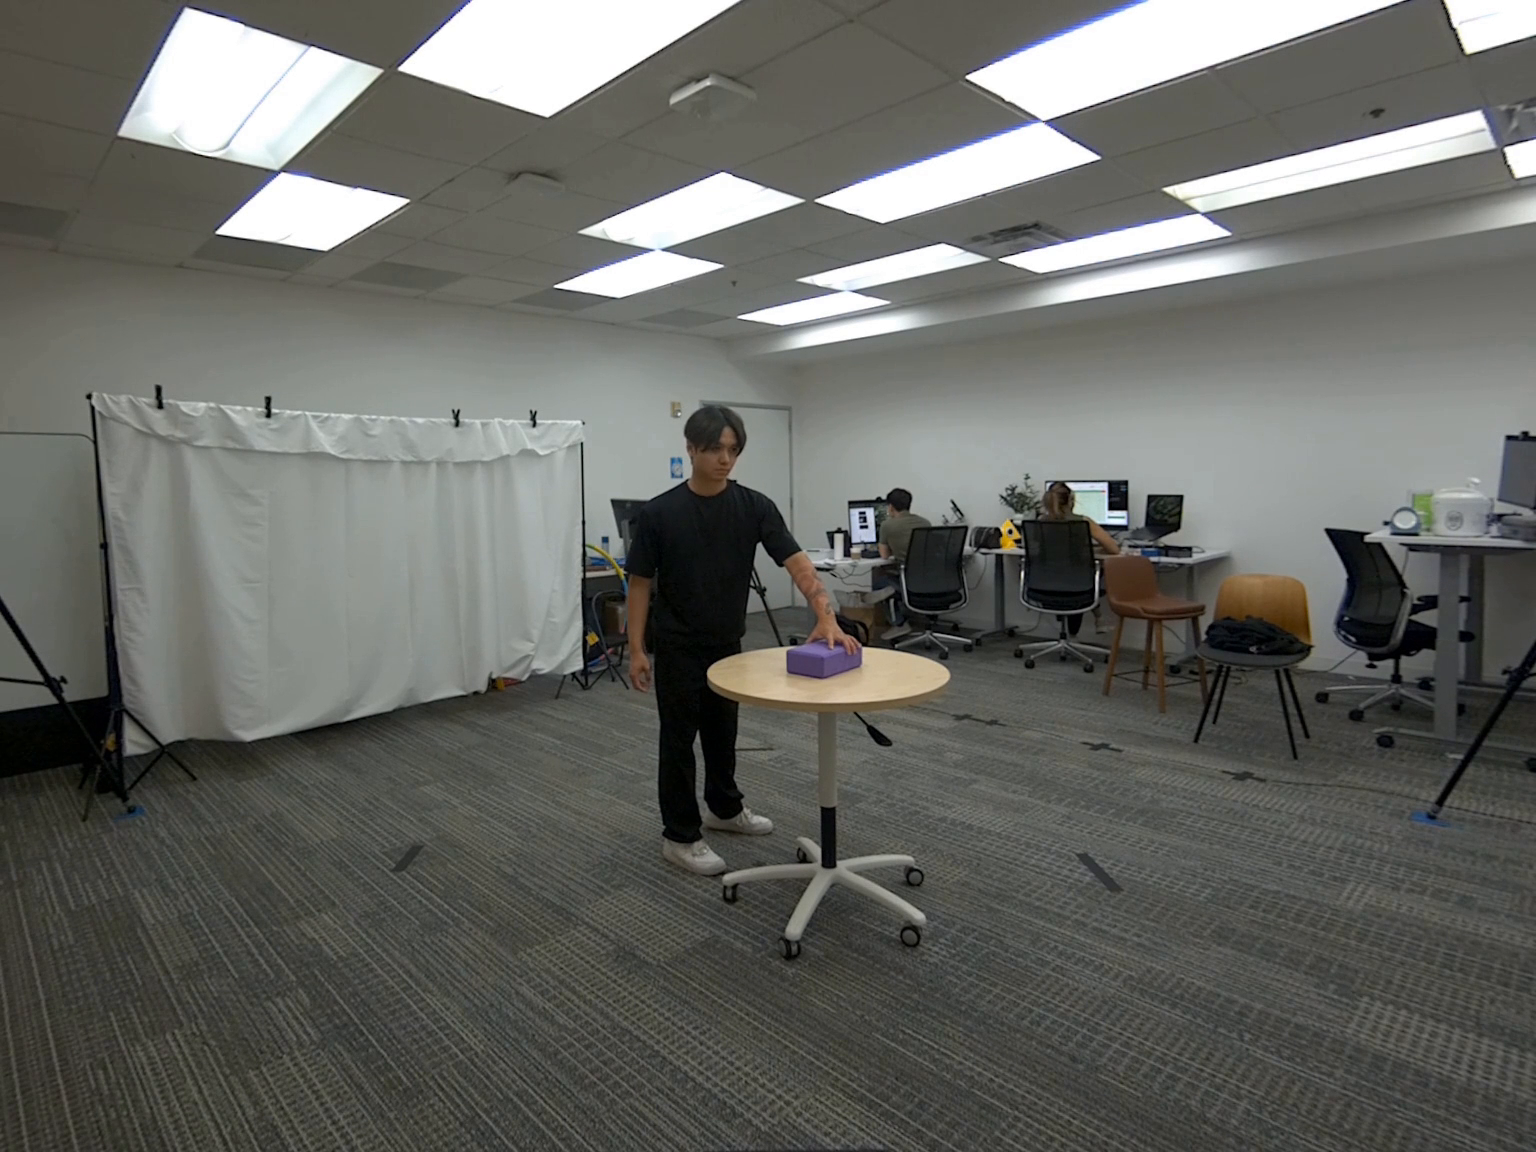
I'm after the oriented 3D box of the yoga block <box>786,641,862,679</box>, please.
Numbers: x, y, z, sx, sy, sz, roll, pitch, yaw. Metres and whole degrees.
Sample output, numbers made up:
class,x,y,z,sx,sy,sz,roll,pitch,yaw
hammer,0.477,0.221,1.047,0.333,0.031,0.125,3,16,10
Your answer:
class,x,y,z,sx,sy,sz,roll,pitch,yaw
yoga block,0.186,0.264,2.741,0.153,0.076,0.223,5,8,39
